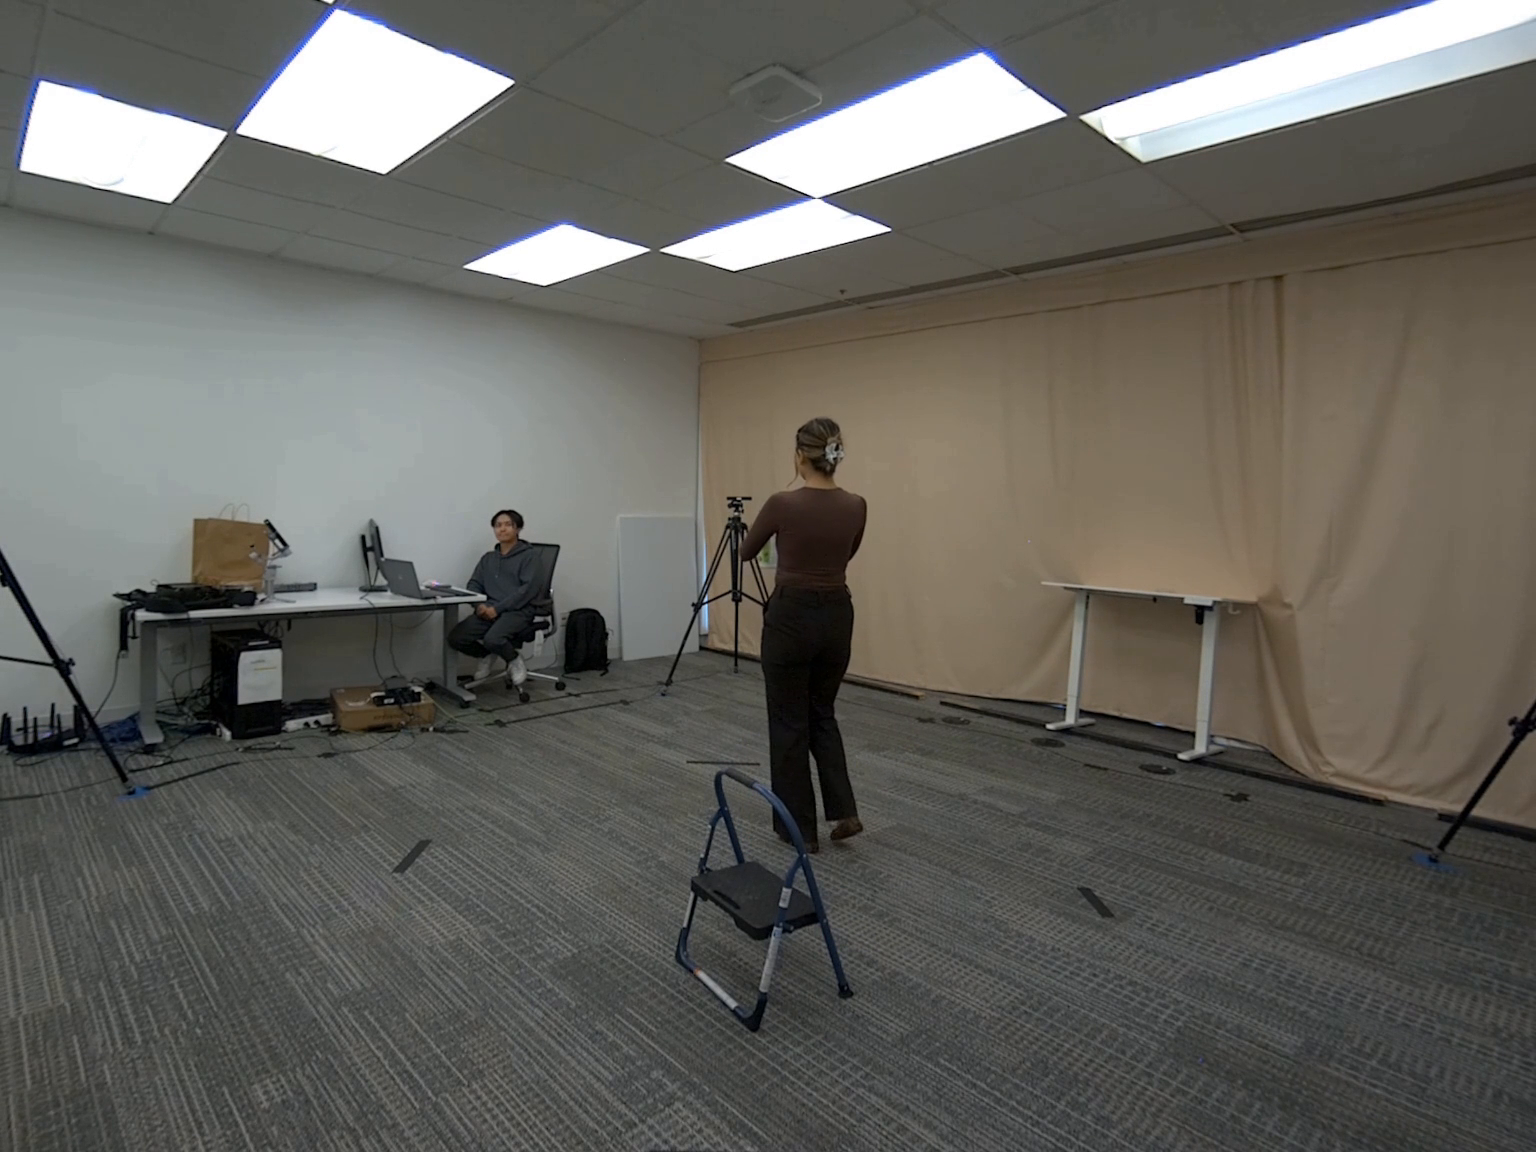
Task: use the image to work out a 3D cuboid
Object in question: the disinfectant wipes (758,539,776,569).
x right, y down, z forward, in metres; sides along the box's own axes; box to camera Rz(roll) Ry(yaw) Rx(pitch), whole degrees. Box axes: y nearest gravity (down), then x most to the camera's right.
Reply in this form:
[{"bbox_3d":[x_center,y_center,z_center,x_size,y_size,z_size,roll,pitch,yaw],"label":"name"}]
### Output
[{"bbox_3d":[0.018,-0.142,3.720,0.118,0.216,0.118,-2,7,-1],"label":"disinfectant wipes"}]
